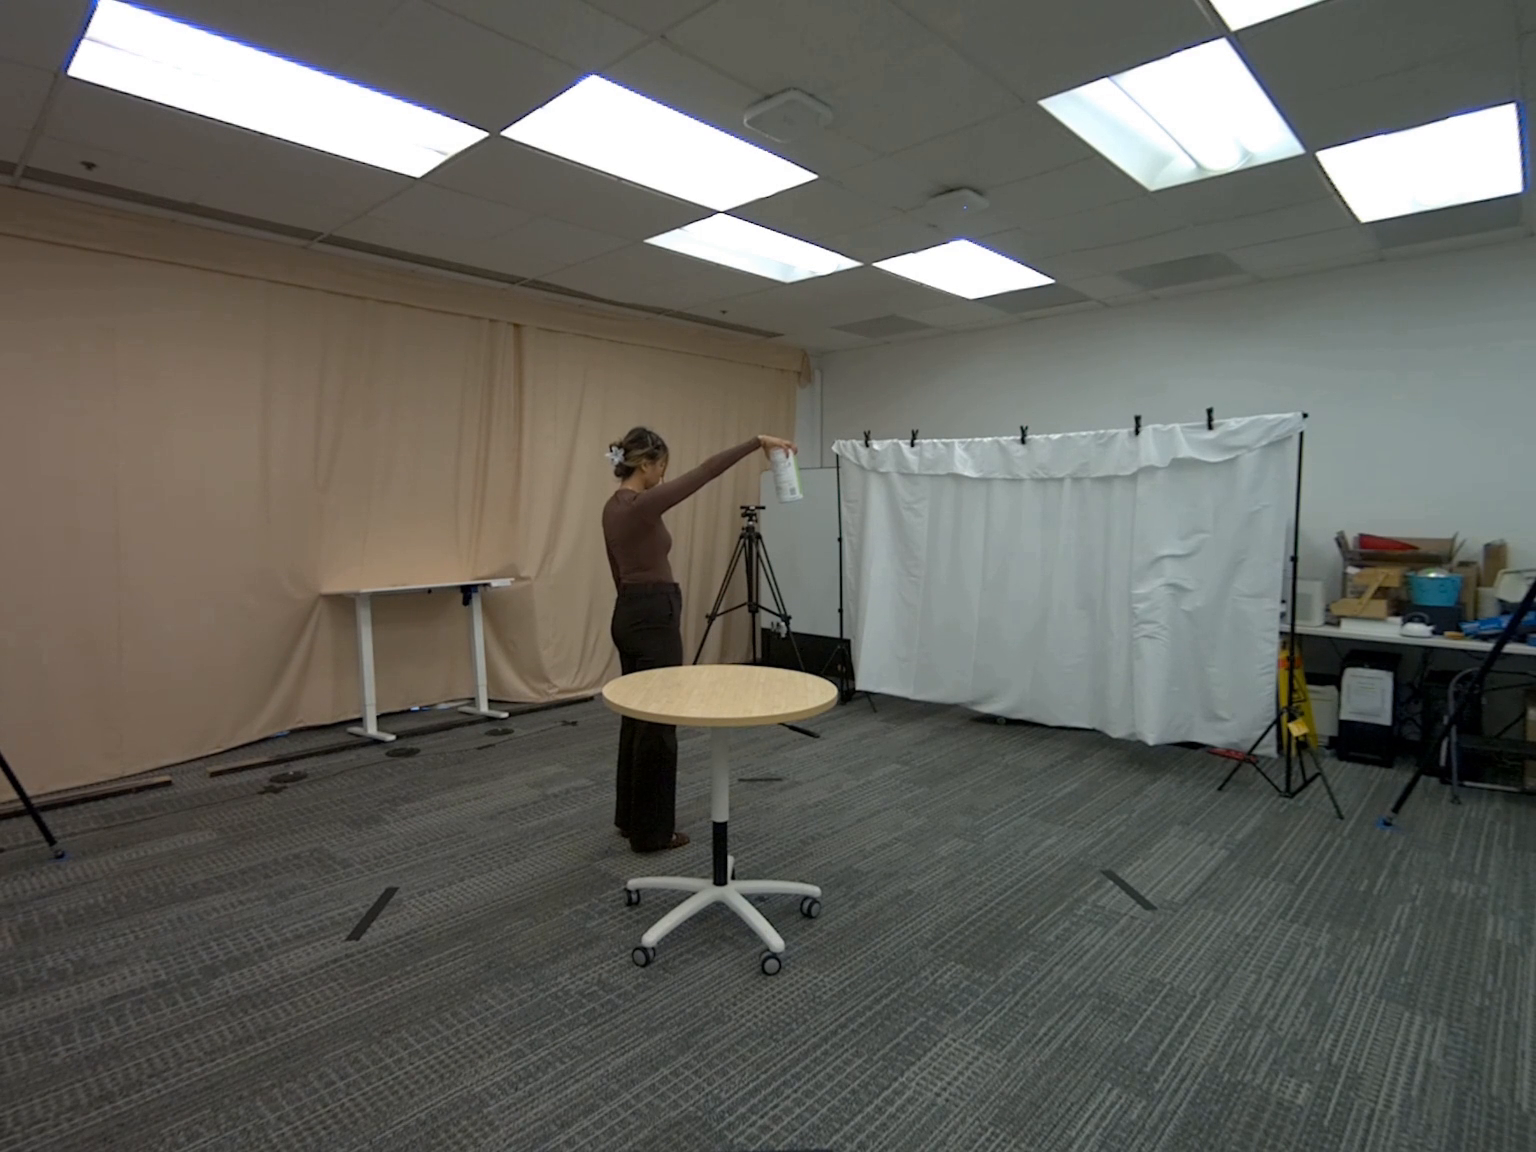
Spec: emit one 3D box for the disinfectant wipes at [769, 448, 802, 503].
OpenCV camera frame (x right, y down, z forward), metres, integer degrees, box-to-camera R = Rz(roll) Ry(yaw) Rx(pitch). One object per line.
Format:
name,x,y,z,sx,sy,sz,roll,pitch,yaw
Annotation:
disinfectant wipes,0.082,-0.413,3.513,0.118,0.216,0.118,-10,9,0
